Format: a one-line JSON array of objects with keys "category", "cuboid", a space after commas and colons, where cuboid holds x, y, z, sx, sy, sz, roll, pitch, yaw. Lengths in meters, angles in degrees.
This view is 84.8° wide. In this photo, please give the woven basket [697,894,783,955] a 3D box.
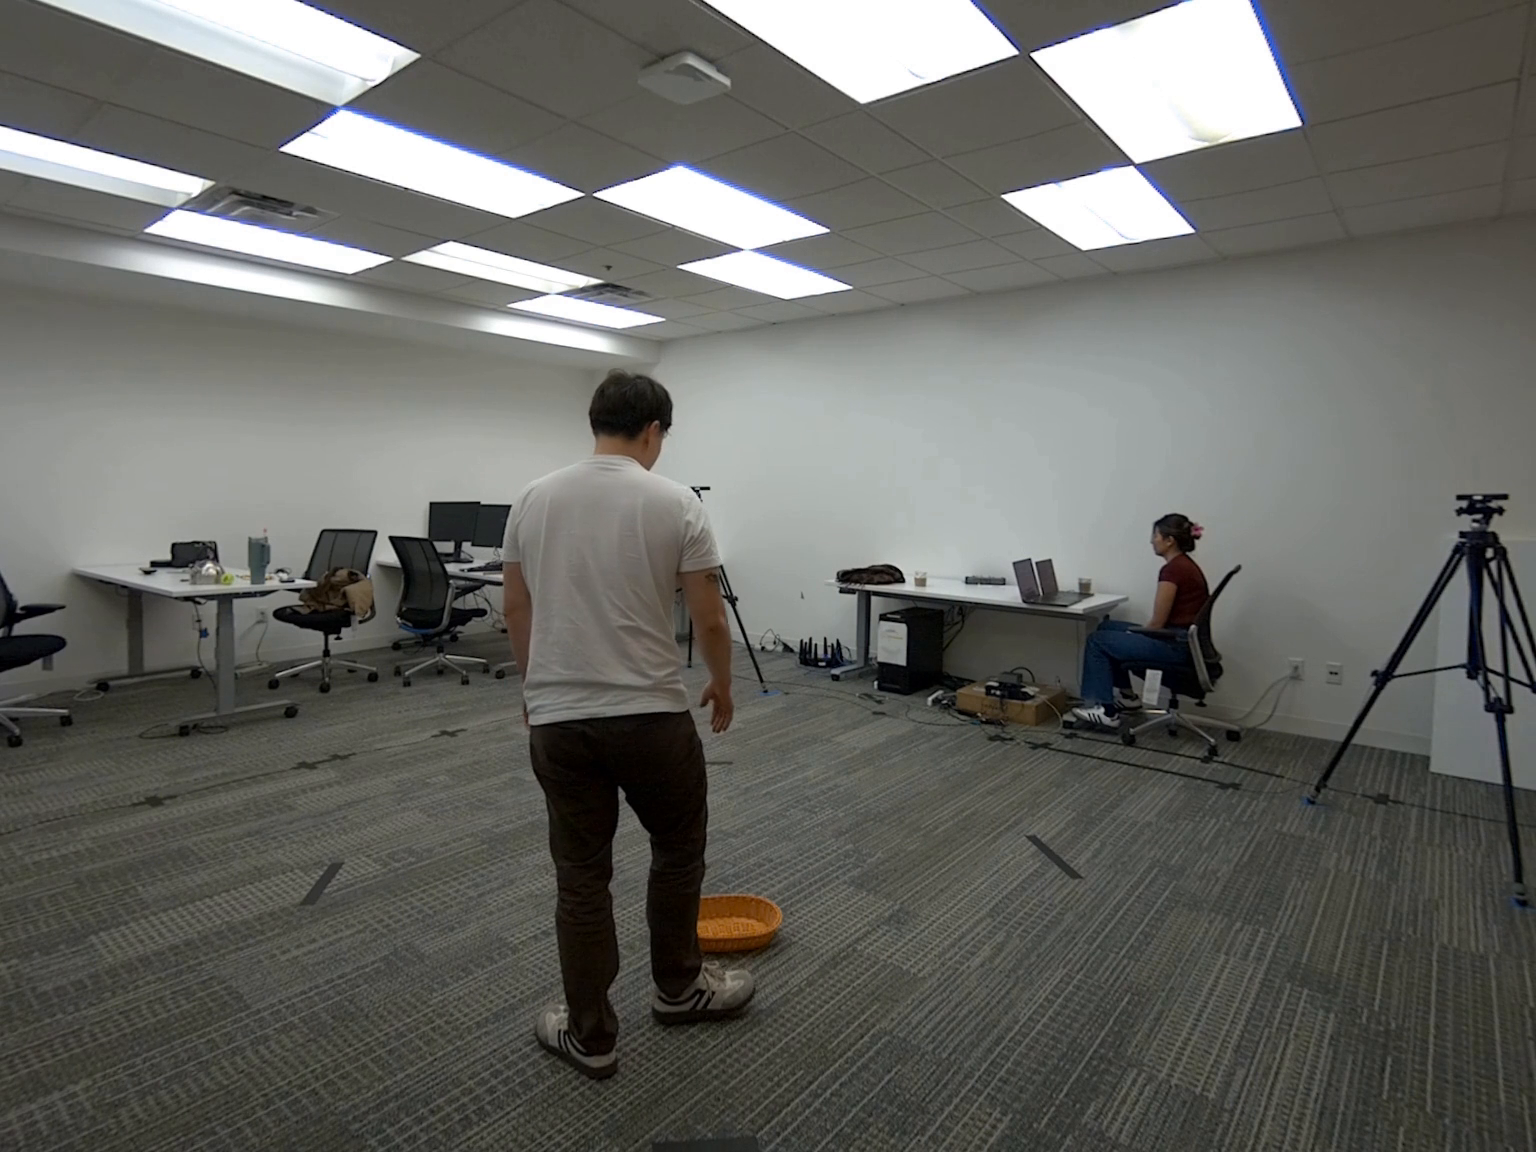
[{"category": "woven basket", "cuboid": [-0.134, 1.076, 2.626, 0.347, 0.073, 0.256, 1, 6, -10]}]
